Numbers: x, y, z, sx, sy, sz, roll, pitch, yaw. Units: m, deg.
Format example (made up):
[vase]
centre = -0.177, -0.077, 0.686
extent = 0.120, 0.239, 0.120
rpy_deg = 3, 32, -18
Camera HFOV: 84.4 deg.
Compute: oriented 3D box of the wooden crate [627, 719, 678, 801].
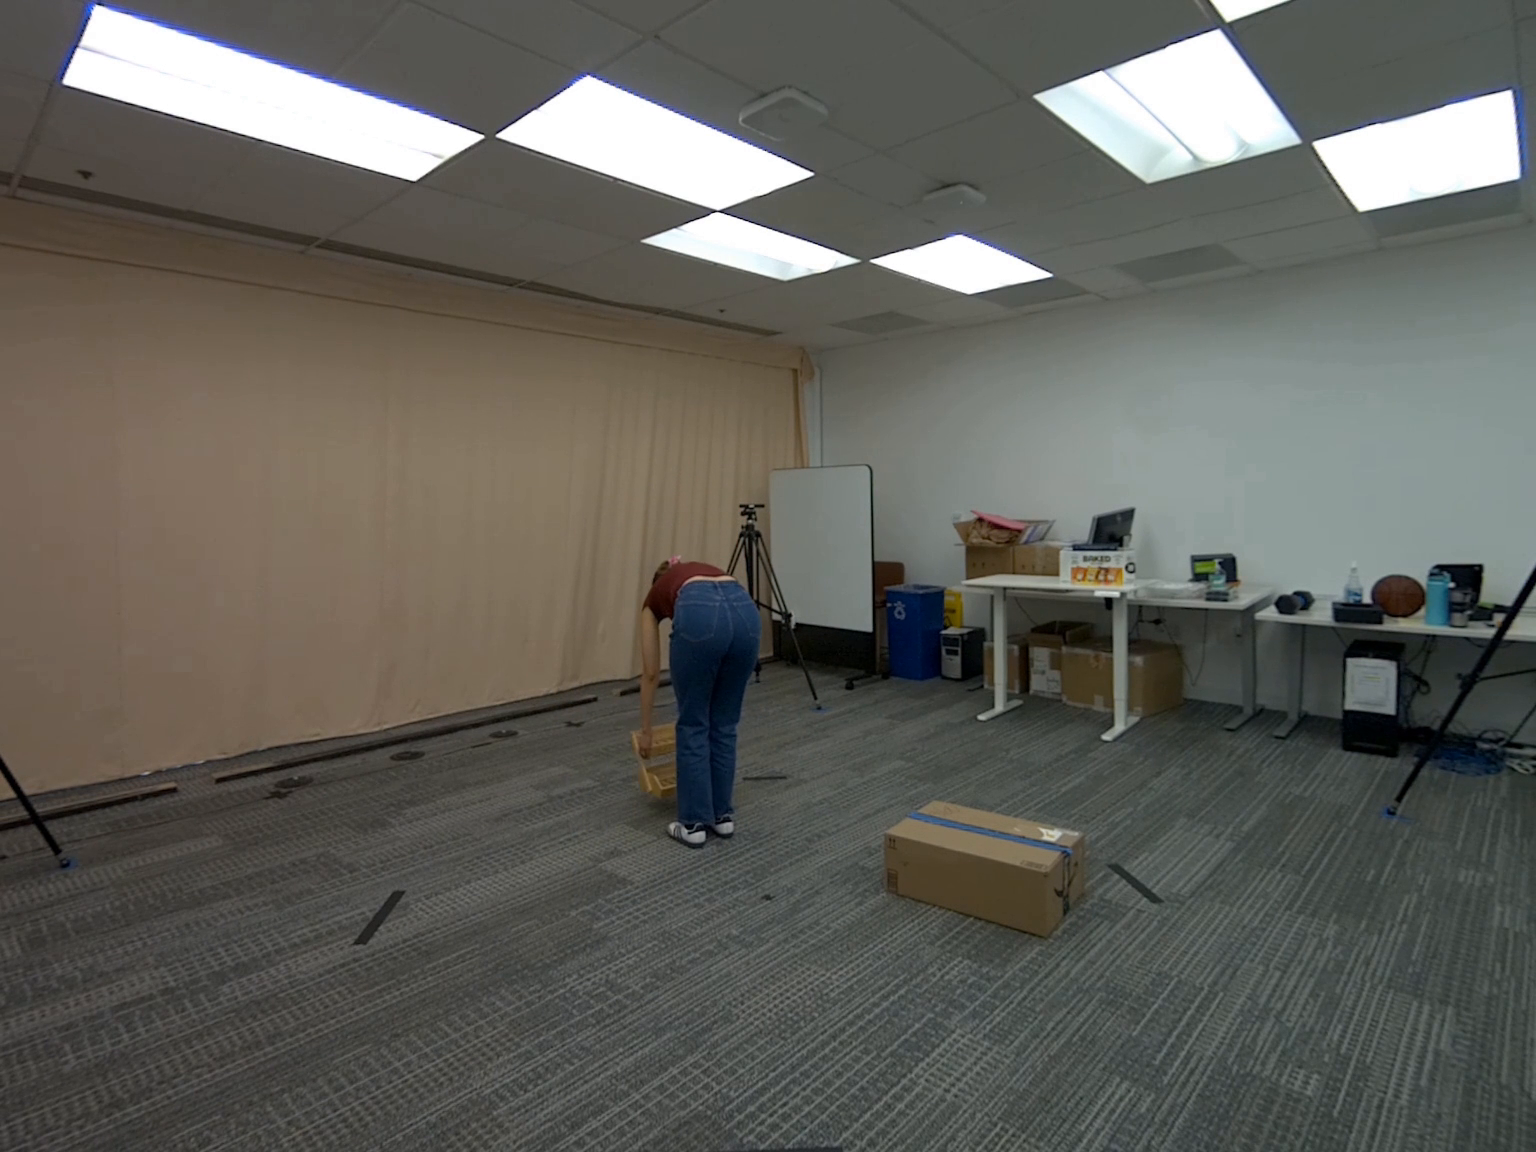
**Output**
[wooden crate]
centre = -0.429, 0.831, 3.905
extent = 0.316, 0.273, 0.310
rpy_deg = -7, 0, -31
